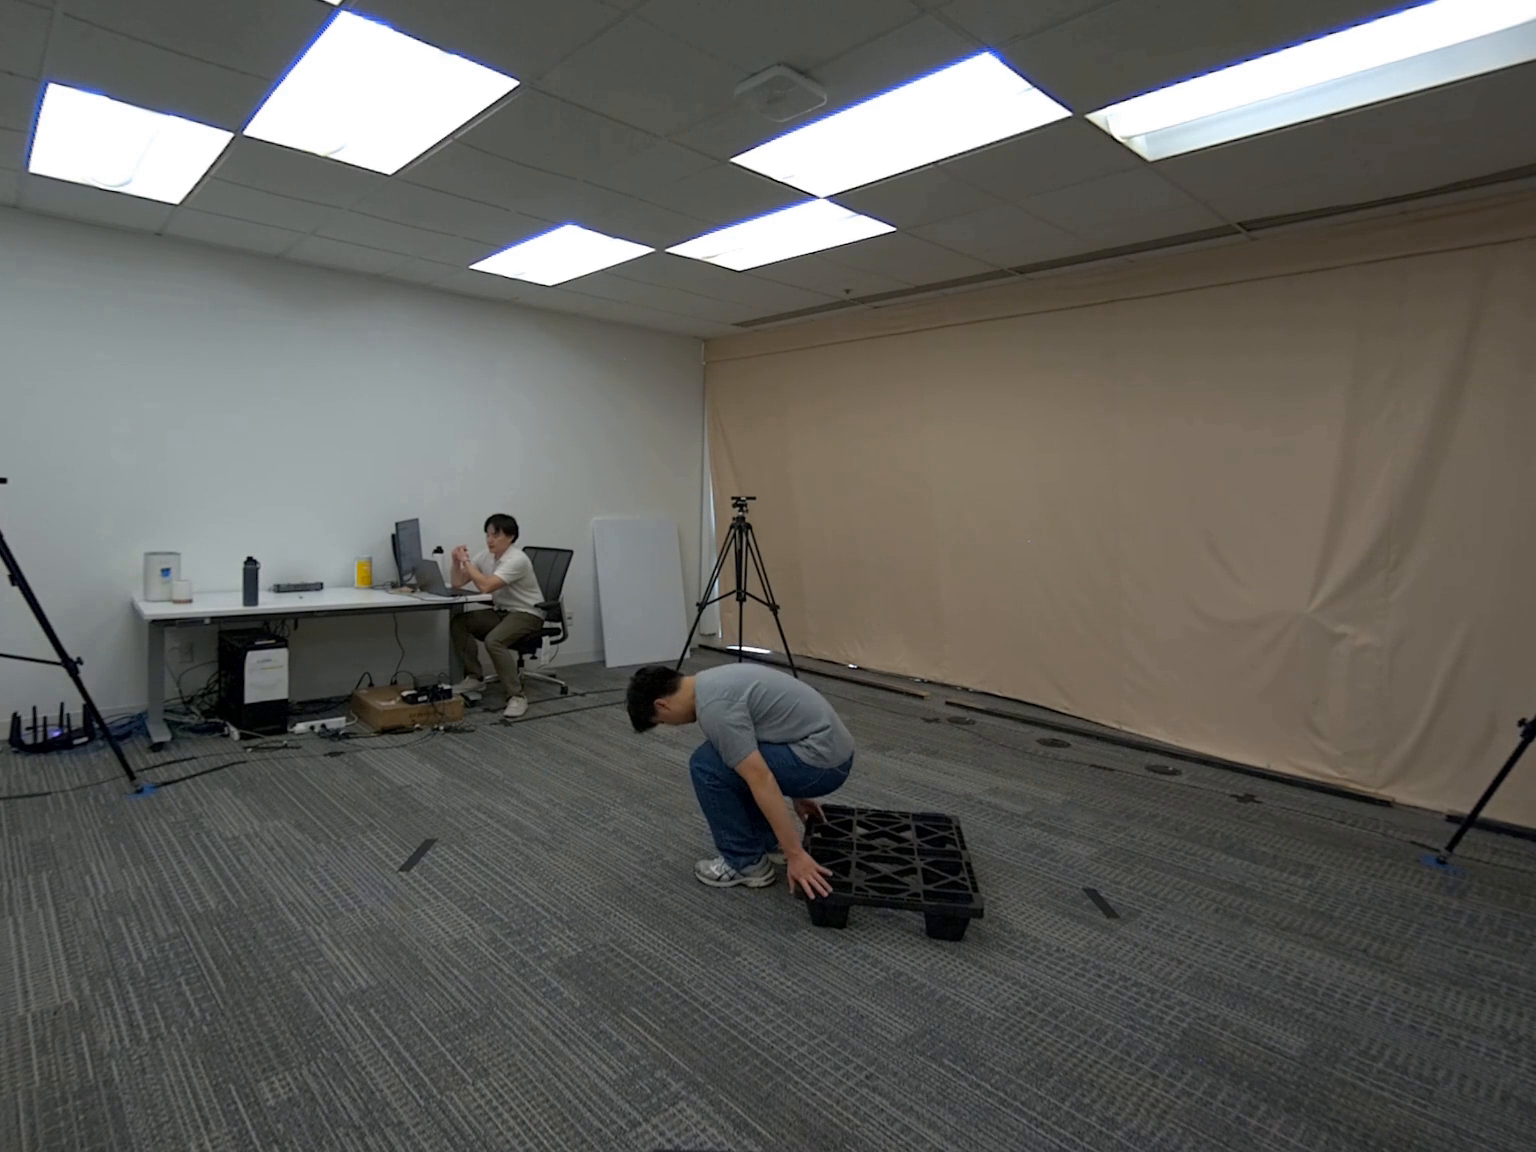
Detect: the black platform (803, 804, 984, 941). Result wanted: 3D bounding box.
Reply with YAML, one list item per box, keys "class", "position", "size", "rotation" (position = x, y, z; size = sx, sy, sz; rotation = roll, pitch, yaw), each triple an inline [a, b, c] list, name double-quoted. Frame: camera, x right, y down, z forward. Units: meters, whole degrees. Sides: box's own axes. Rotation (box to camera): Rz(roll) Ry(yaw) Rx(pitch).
- class: "black platform"
  position: [0.413, 1.052, 3.062]
  size: [0.609, 0.143, 0.802]
  rotation: [2, 5, 7]
